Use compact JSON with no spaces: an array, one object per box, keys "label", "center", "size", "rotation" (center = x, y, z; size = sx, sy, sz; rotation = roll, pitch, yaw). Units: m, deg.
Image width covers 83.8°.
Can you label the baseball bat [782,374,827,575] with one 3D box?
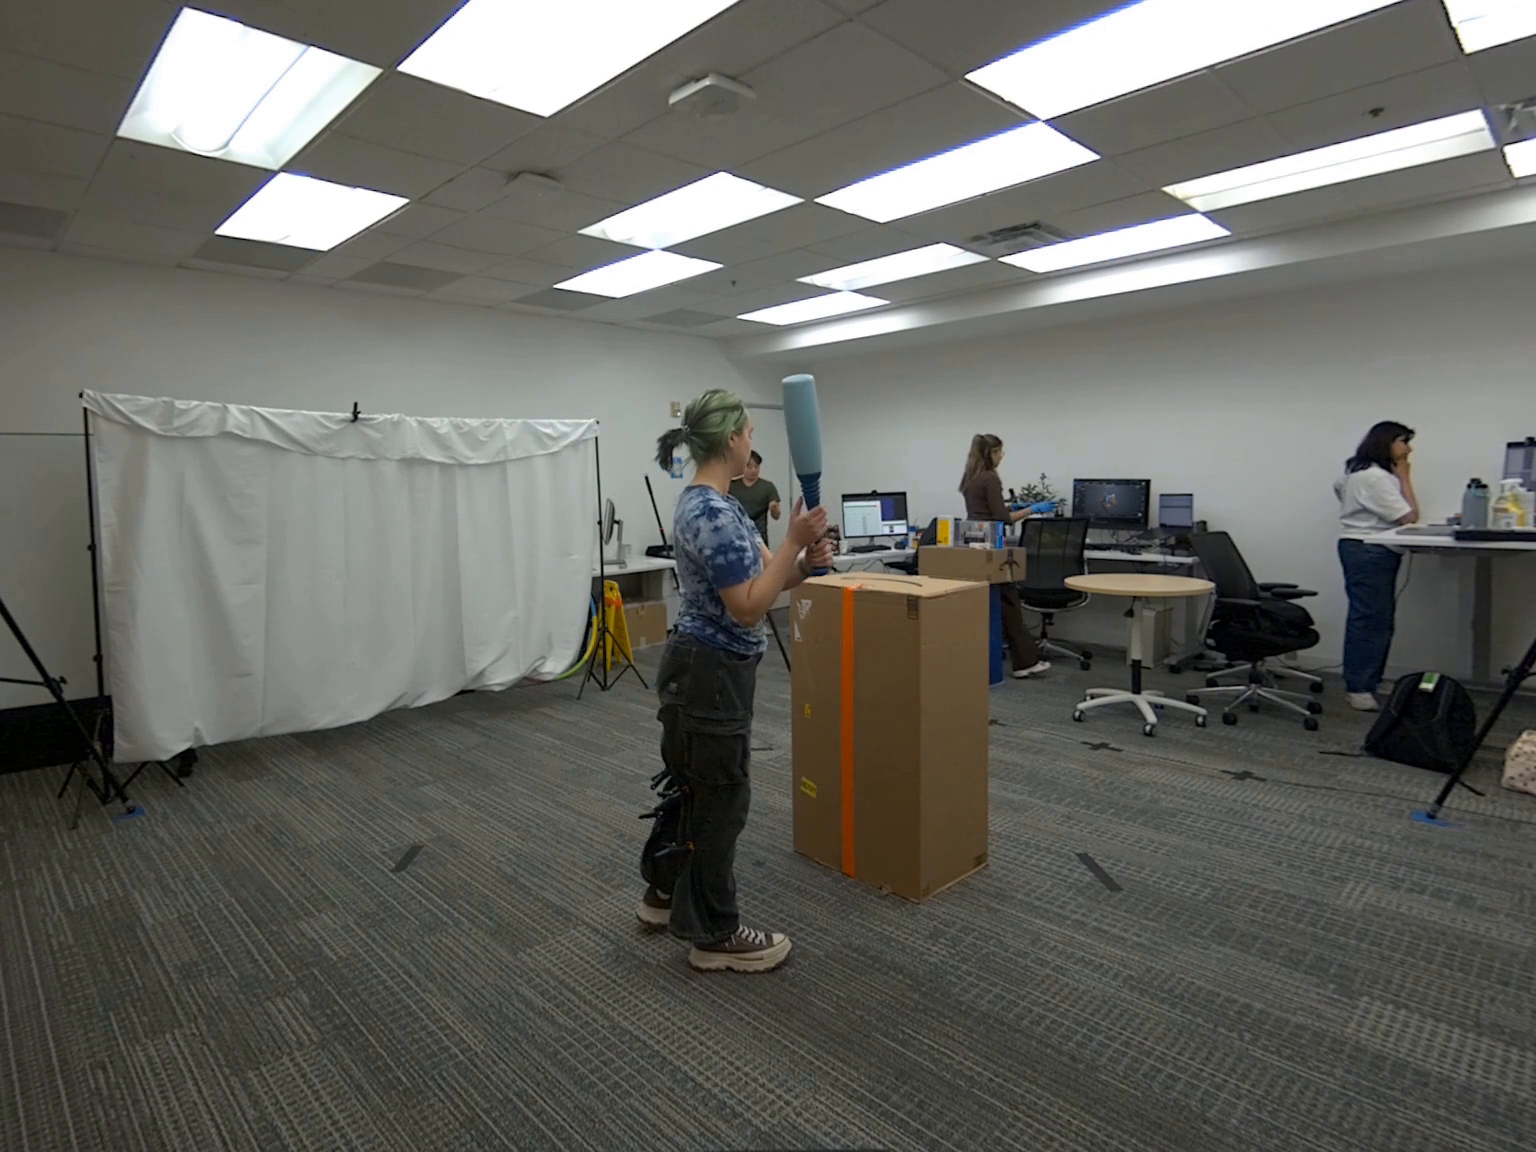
[{"label":"baseball bat","center":[0.106,-0.254,2.249],"size":[0.089,0.533,0.090],"rotation":[-6,19,1]}]
